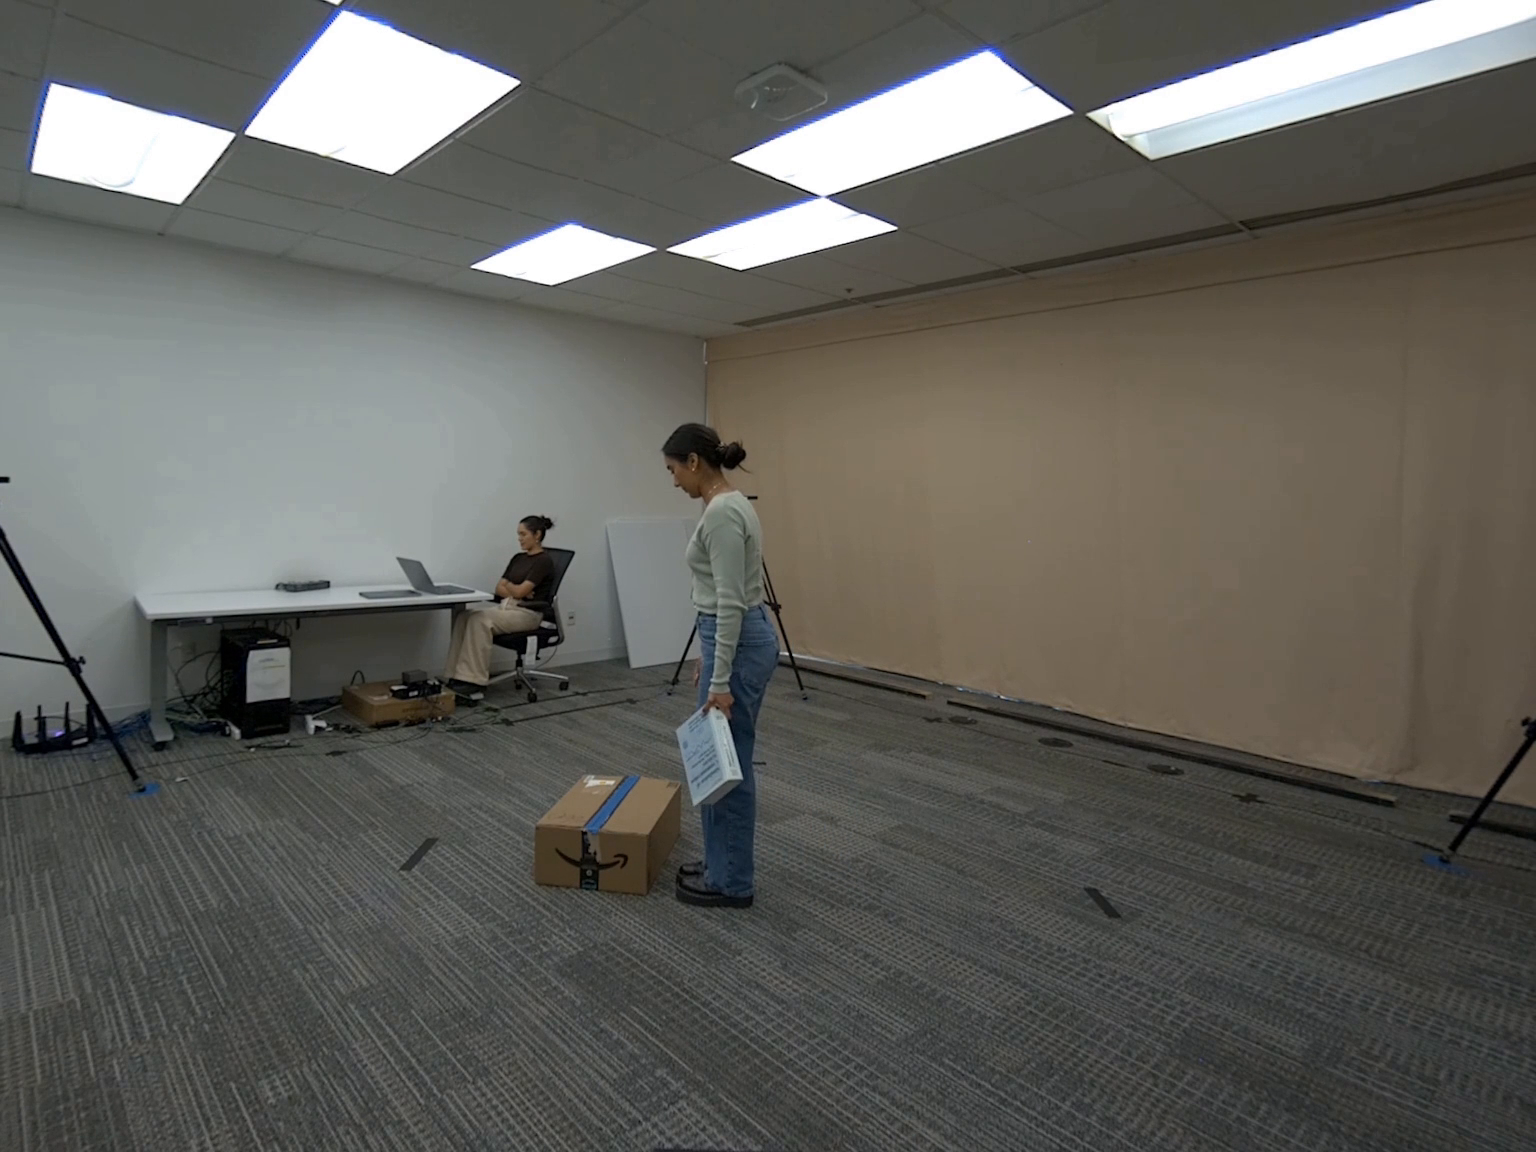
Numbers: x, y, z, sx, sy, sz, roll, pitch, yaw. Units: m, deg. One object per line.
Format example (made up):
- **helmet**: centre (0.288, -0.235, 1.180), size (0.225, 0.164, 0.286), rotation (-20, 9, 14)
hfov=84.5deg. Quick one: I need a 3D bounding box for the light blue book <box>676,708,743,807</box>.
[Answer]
- **light blue book**: centre (-0.197, 0.555, 2.624), size (0.057, 0.268, 0.191), rotation (13, -45, -36)
